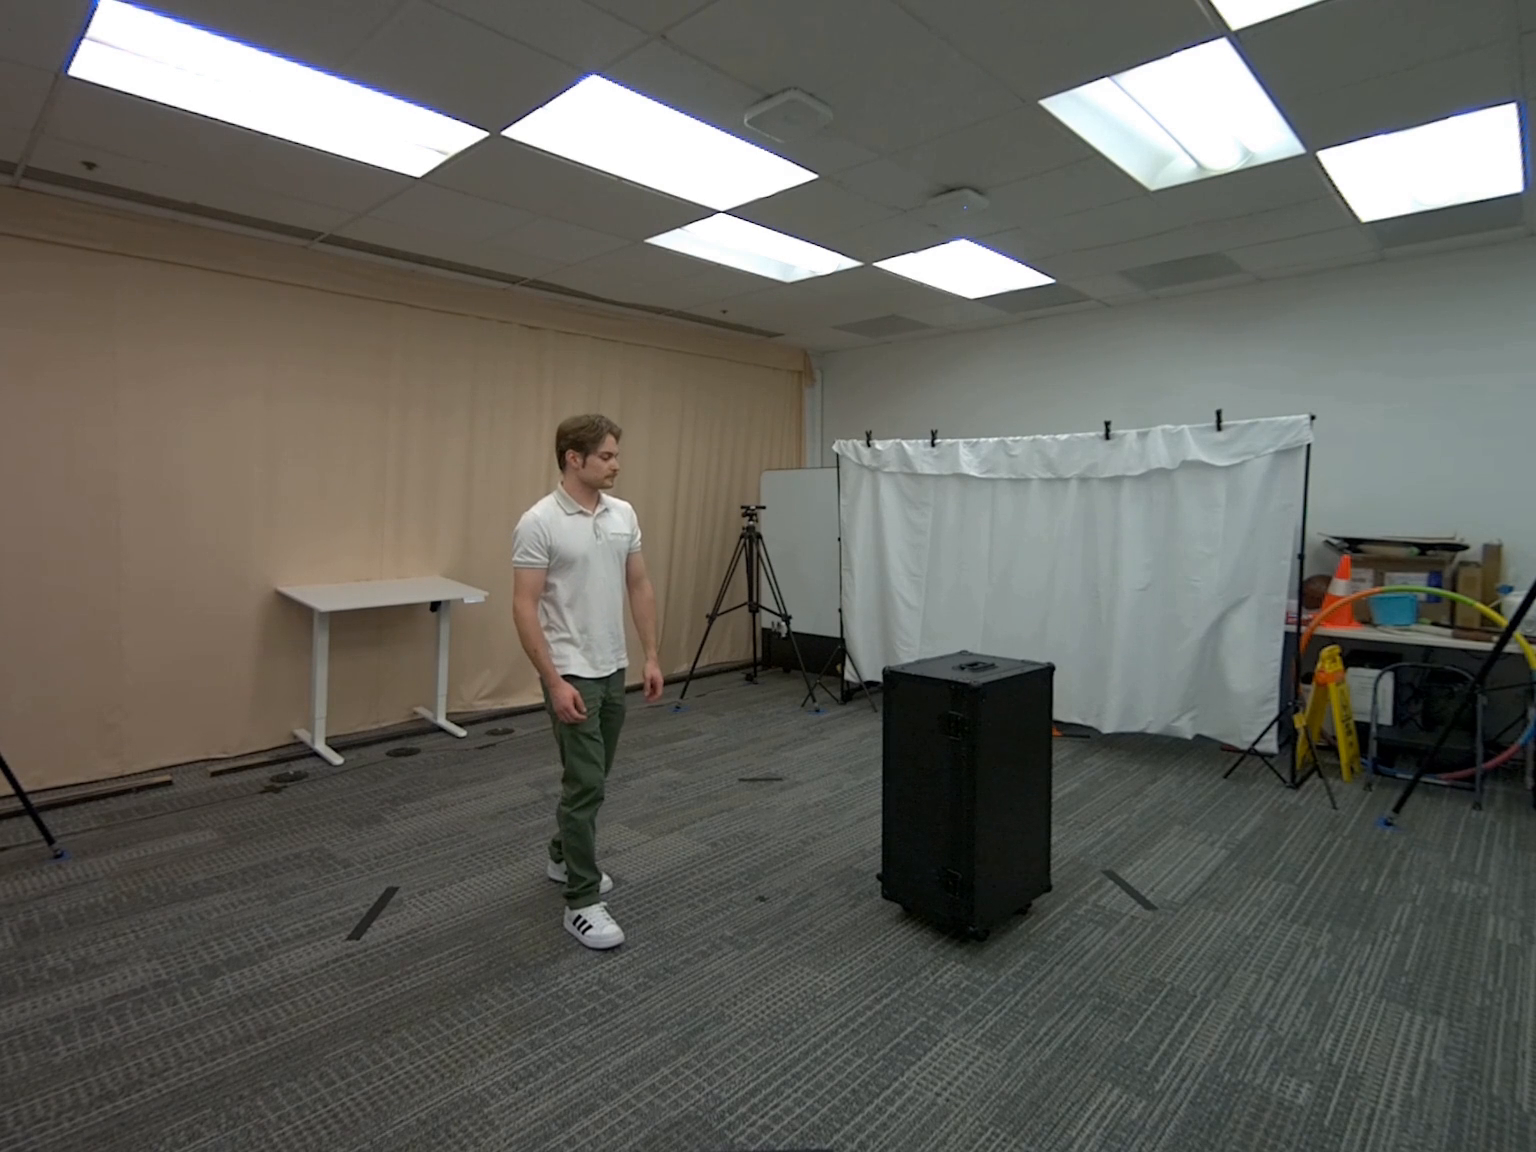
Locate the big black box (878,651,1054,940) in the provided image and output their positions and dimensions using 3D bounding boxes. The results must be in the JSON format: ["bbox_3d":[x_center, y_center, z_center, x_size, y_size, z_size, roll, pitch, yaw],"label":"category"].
[{"bbox_3d":[0.675,0.733,2.839,0.507,0.867,0.398,-3,4,-44],"label":"big black box"}]
